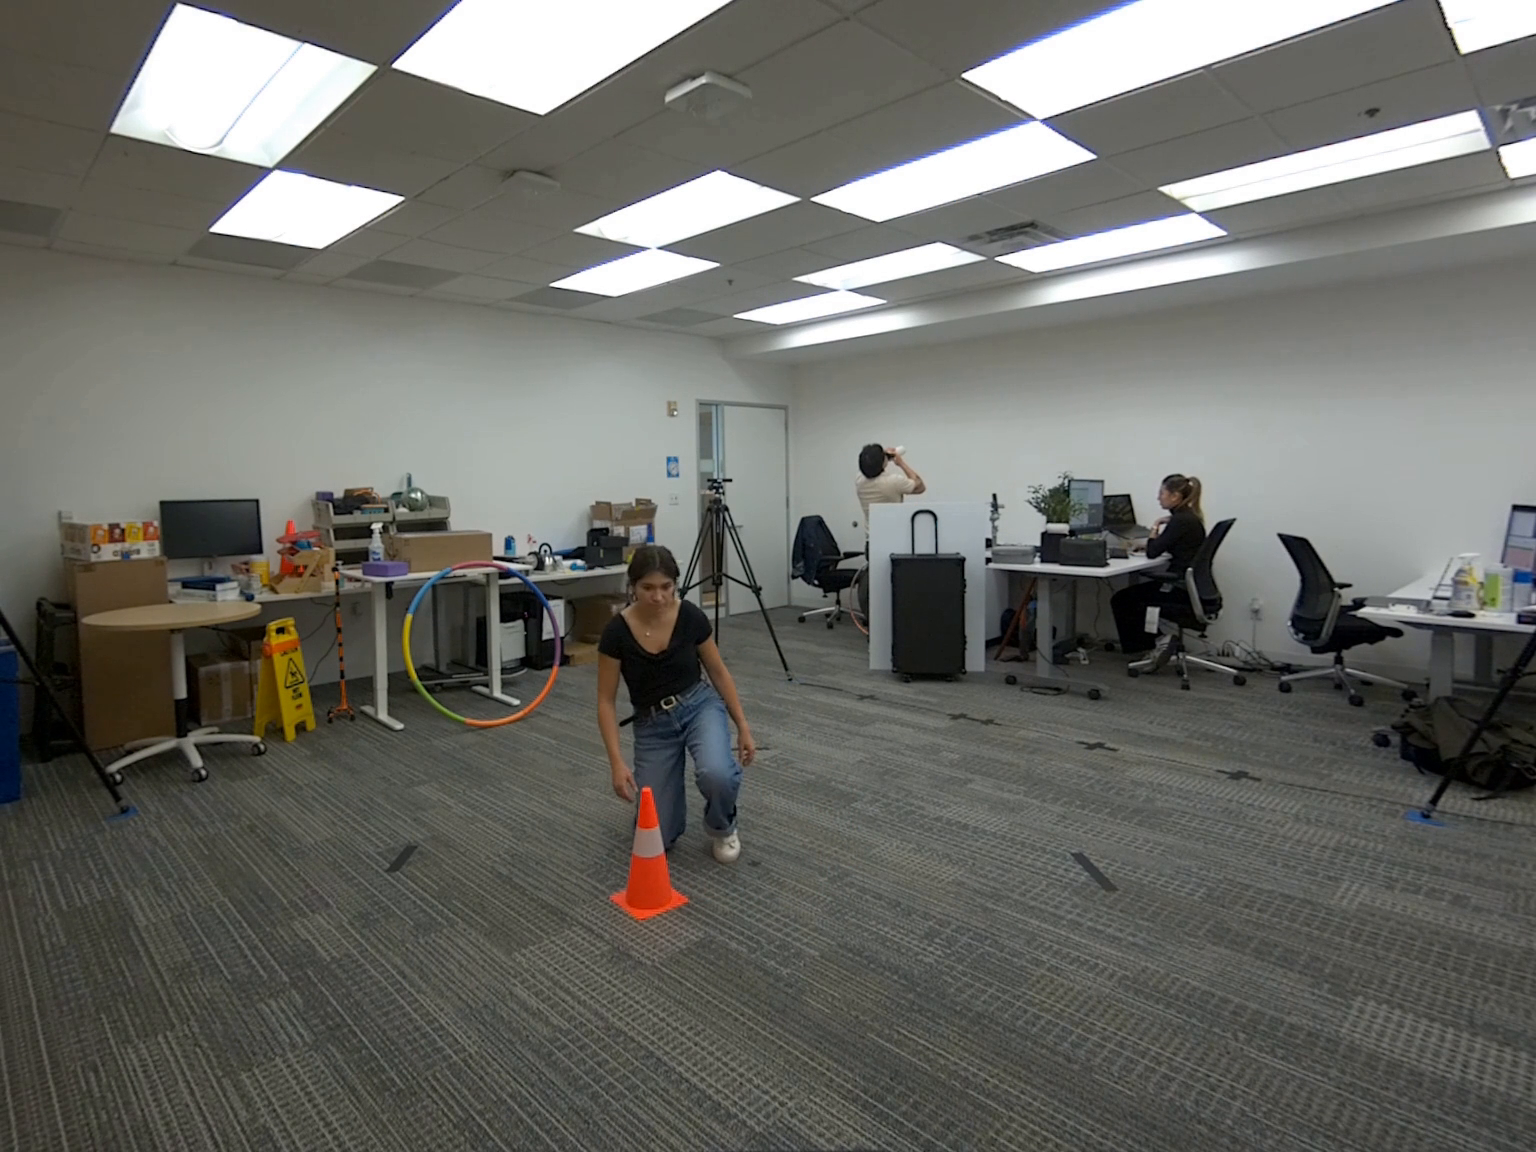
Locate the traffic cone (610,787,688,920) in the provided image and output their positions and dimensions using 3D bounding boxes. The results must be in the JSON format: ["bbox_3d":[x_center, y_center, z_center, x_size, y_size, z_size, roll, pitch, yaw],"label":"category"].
[{"bbox_3d":[-0.392,0.898,2.850,0.211,0.382,0.198,4,6,44],"label":"traffic cone"}]
